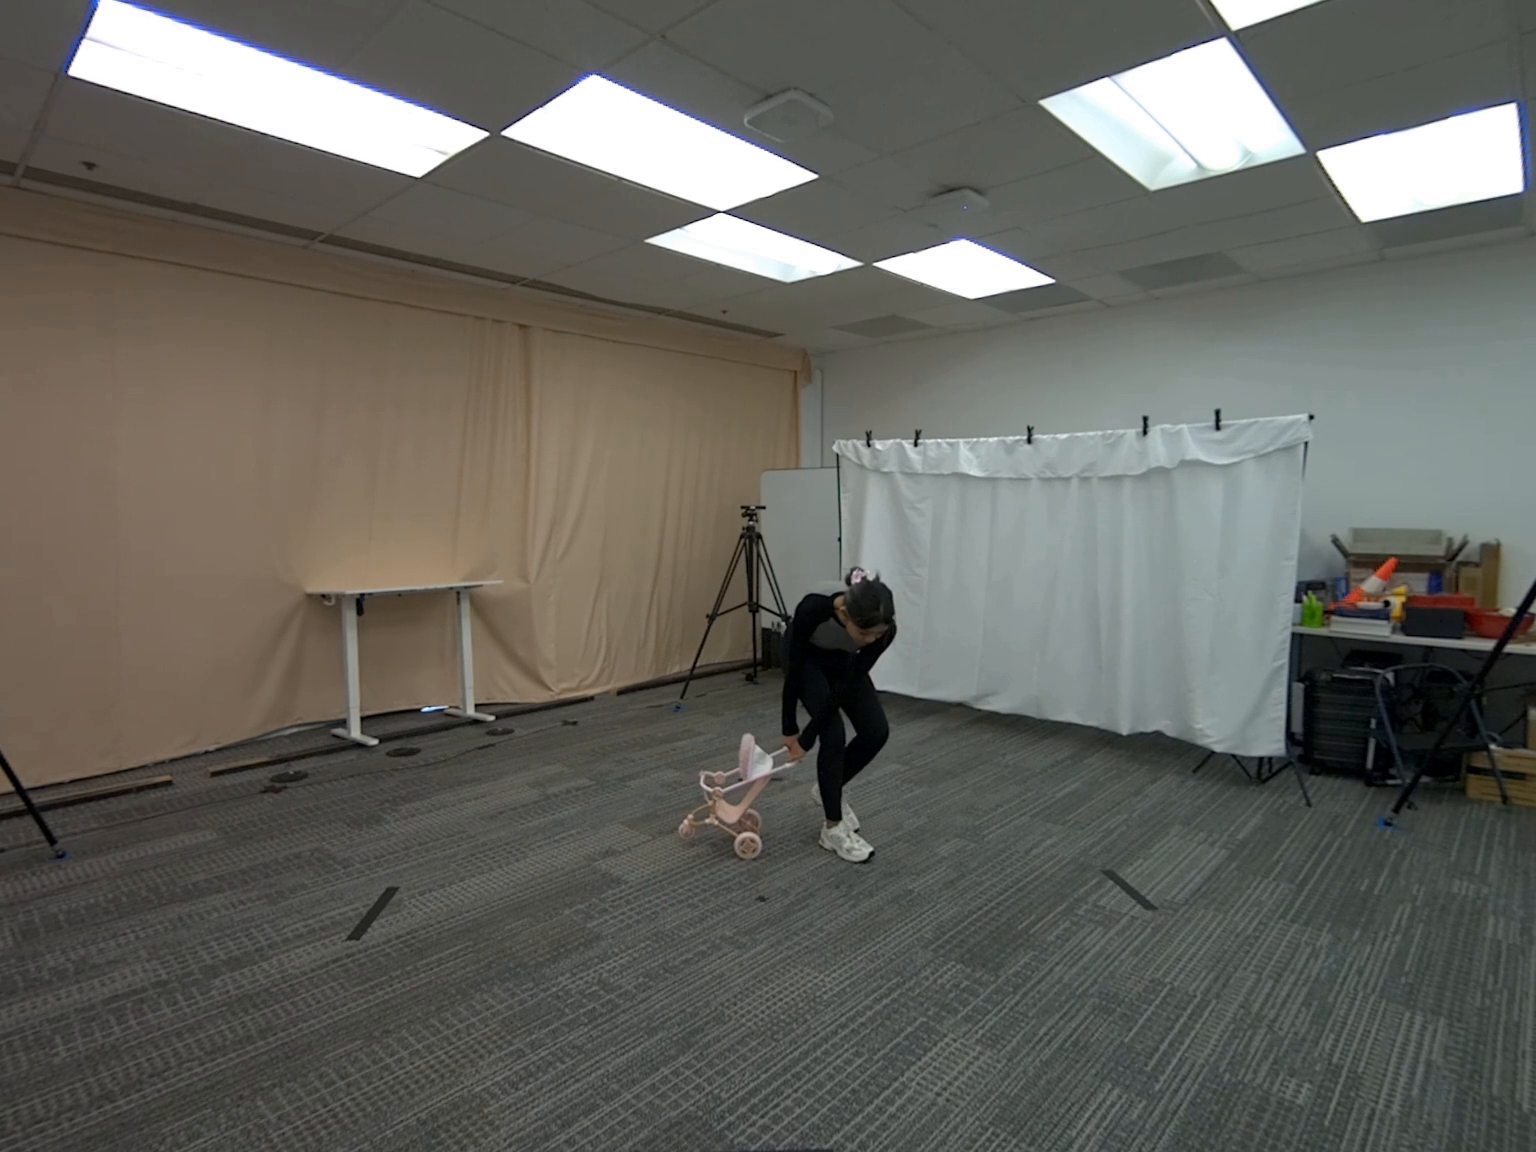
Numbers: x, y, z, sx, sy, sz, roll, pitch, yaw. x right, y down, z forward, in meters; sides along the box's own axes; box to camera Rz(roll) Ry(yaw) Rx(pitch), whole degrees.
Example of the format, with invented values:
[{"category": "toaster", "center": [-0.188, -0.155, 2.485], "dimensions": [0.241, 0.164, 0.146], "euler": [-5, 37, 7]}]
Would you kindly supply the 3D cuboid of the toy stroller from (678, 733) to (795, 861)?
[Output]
[{"category": "toy stroller", "center": [-0.122, 0.884, 3.436], "dimensions": [0.343, 0.534, 0.280], "euler": [22, 5, 4]}]
